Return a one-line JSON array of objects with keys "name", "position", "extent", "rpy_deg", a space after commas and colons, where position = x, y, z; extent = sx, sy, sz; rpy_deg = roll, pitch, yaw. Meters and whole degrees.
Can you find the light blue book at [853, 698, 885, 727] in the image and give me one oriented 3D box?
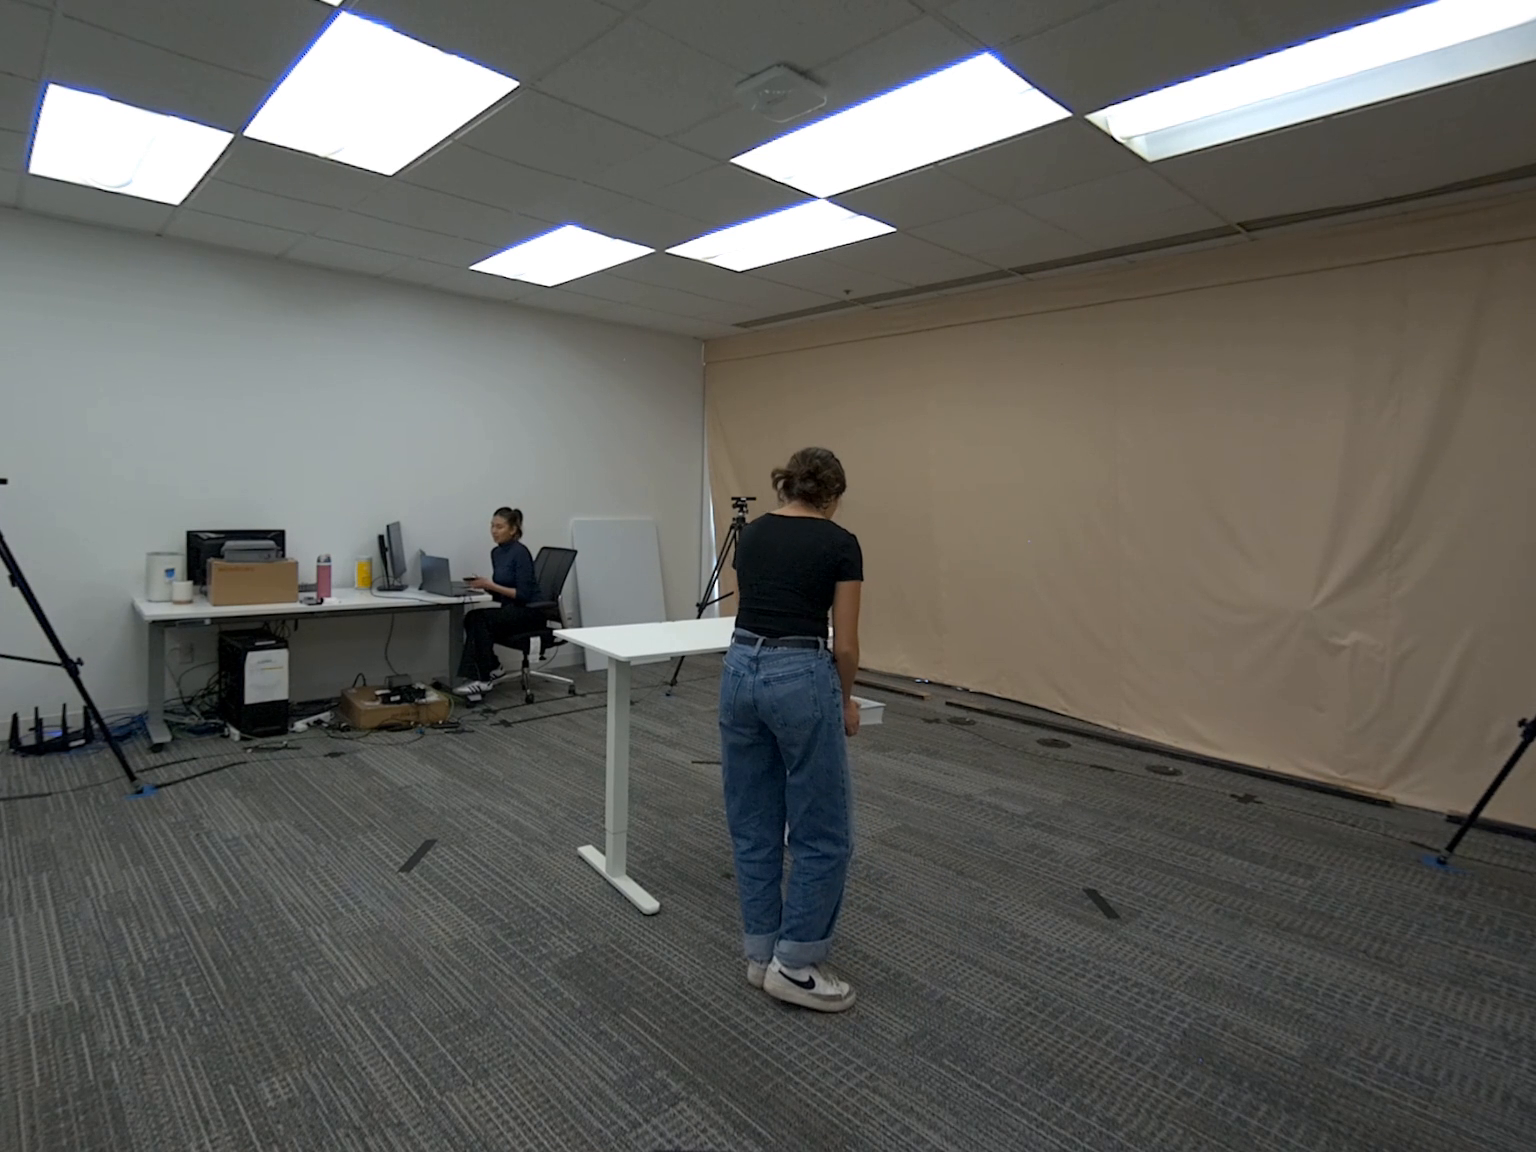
[{"name": "light blue book", "position": [0.222, 0.438, 2.663], "extent": [0.196, 0.059, 0.254], "rpy_deg": [8, 5, 42]}]
